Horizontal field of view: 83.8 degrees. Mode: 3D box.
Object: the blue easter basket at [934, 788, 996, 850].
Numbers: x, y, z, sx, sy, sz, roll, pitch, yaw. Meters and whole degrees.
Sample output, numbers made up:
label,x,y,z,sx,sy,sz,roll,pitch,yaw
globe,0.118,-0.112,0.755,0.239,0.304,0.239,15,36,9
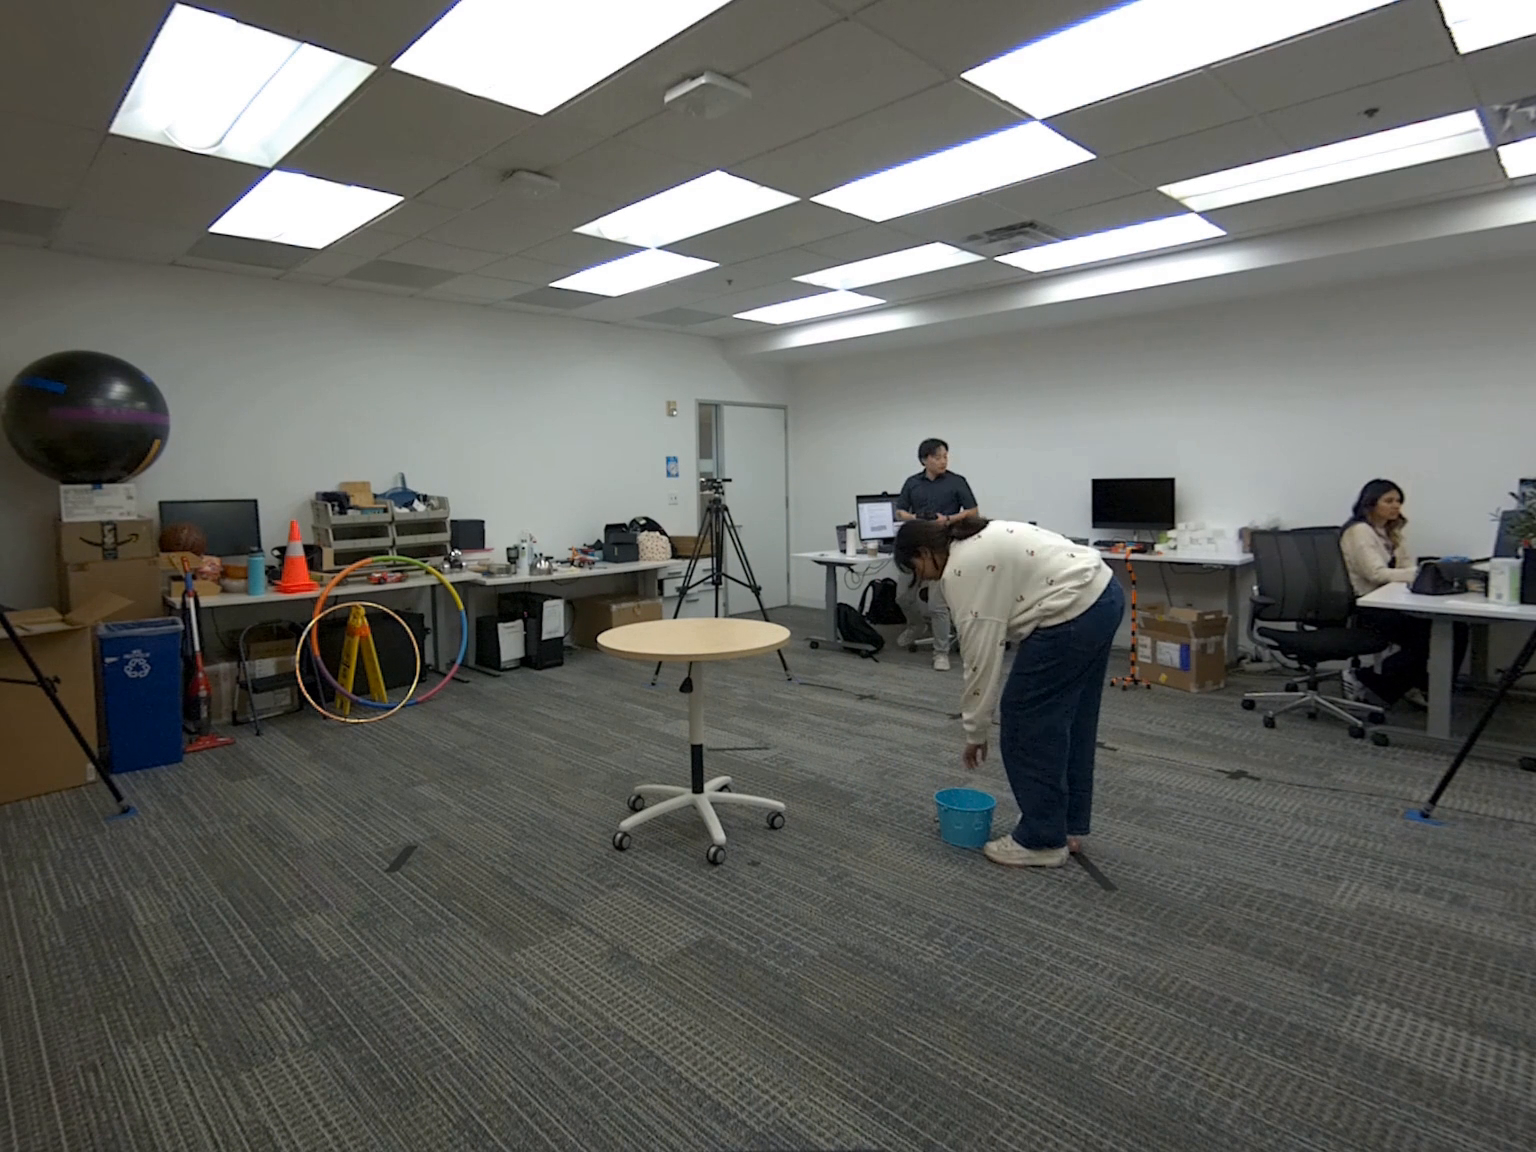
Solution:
label,x,y,z,sx,sy,sz,roll,pitch,yaw
blue easter basket,0.769,0.932,3.301,0.243,0.155,0.245,-1,5,-2
